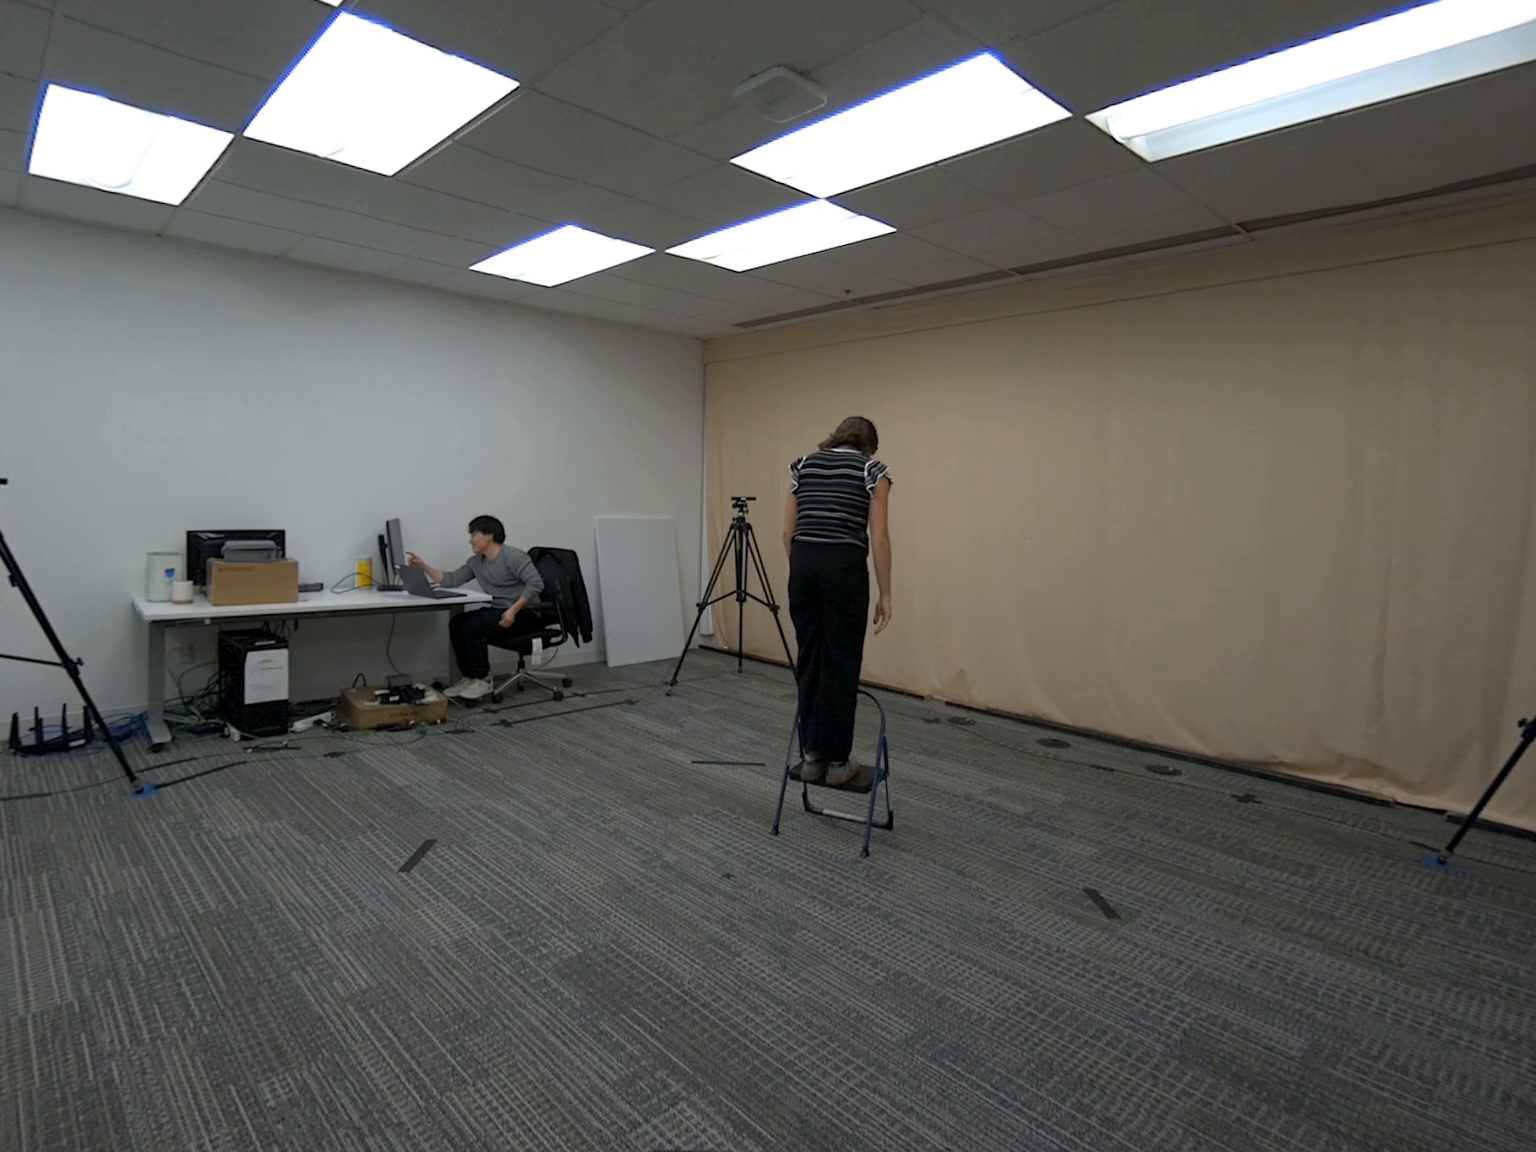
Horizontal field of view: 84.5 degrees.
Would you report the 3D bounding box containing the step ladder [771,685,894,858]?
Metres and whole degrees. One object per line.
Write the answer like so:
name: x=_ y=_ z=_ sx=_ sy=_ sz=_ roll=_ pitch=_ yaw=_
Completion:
step ladder: x=0.280 y=0.780 z=3.541 sx=0.440 sy=0.605 sz=0.343 roll=3 pitch=3 yaw=28
